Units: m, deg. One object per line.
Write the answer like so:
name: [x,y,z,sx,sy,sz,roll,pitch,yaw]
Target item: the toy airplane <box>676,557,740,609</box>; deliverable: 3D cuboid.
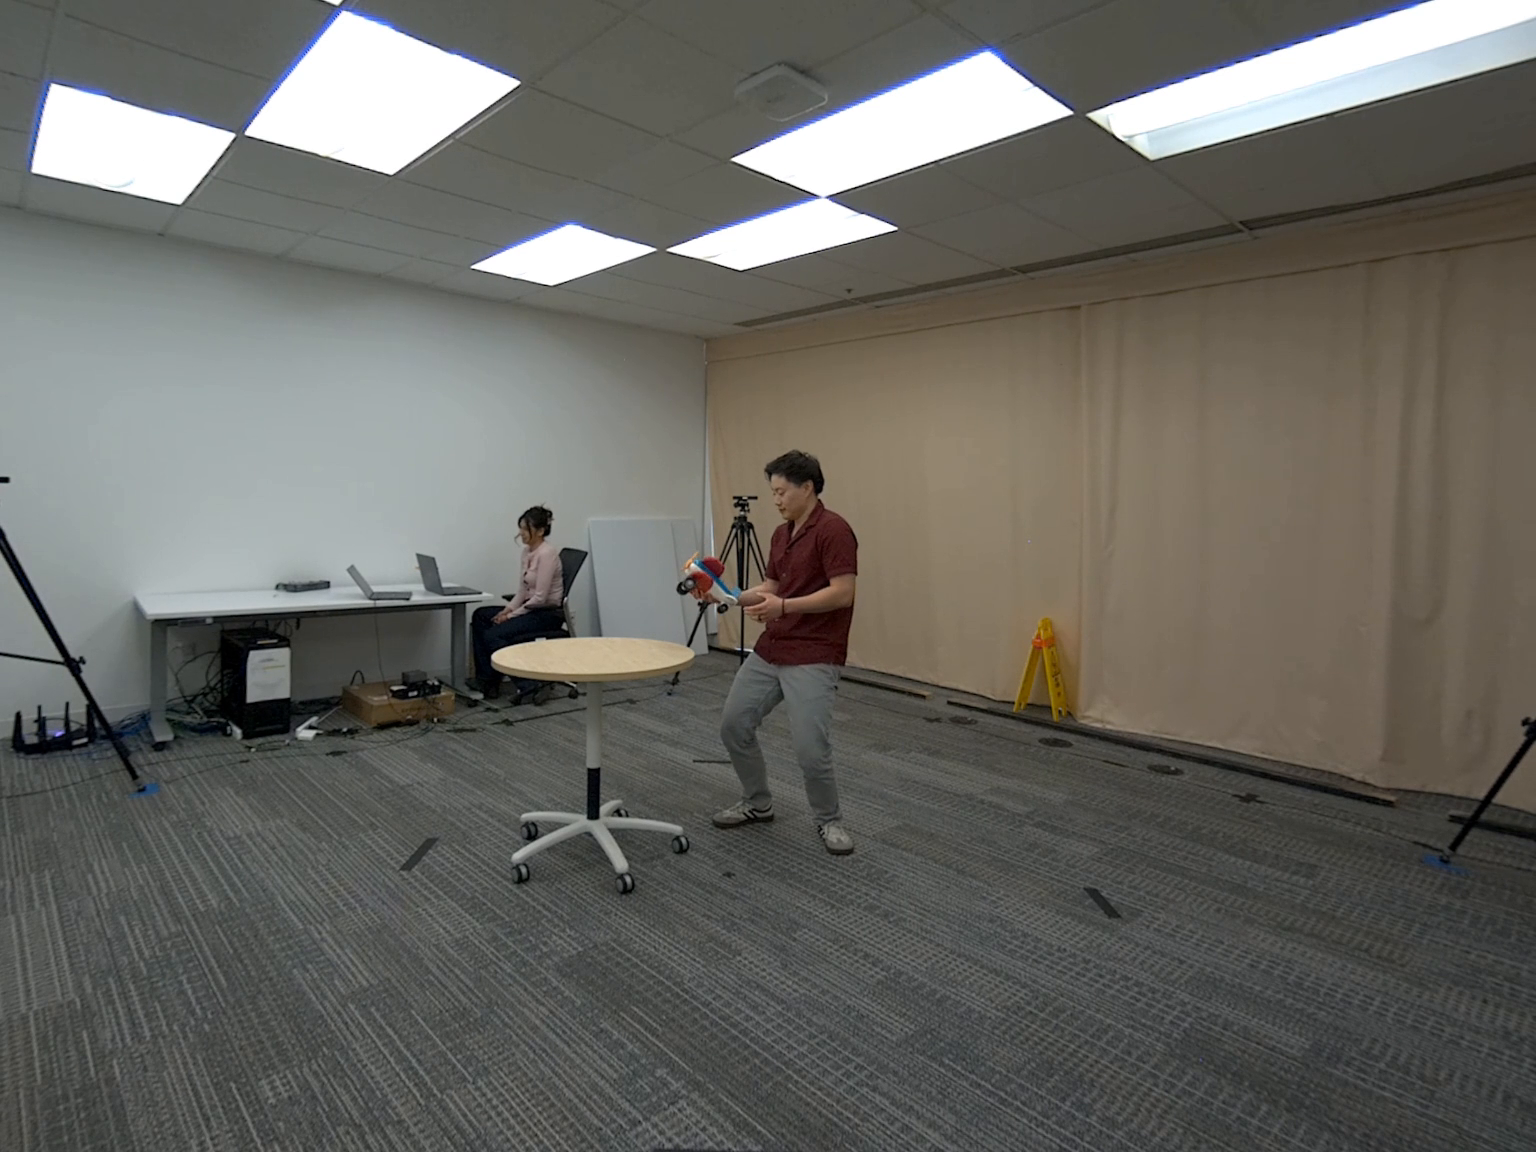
toy airplane: [-0.253,0.036,3.433,0.257,0.157,0.251,1,-32,44]
